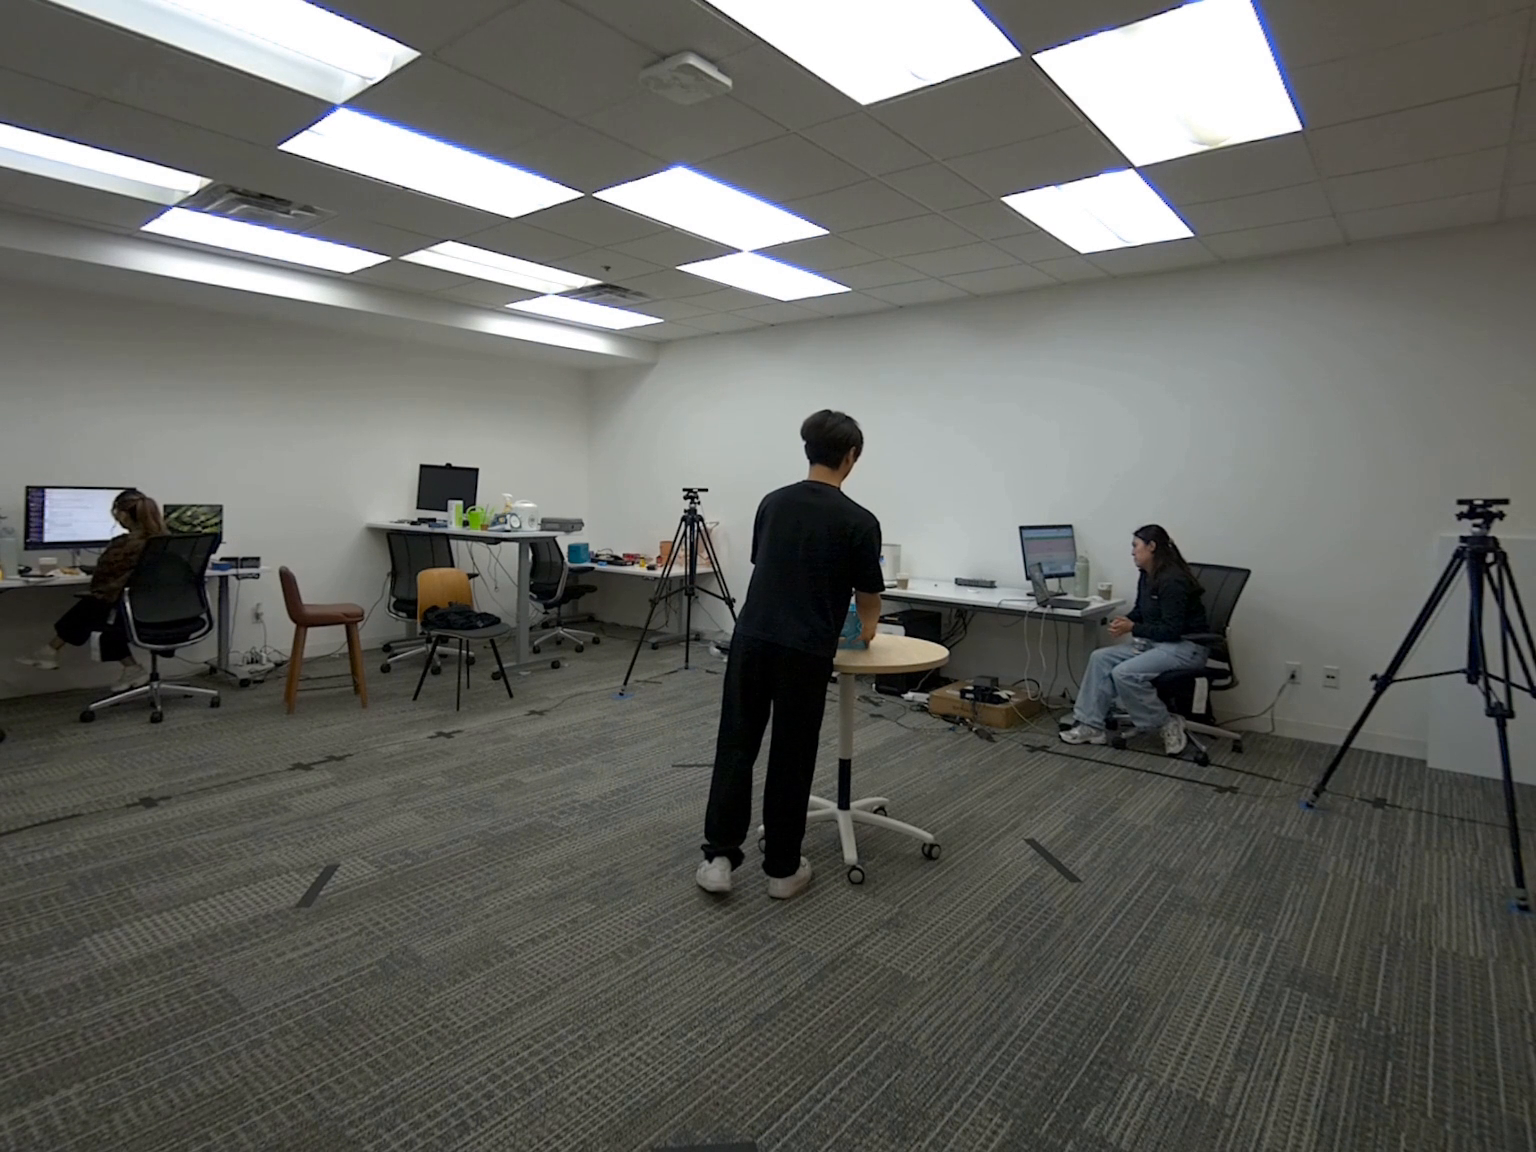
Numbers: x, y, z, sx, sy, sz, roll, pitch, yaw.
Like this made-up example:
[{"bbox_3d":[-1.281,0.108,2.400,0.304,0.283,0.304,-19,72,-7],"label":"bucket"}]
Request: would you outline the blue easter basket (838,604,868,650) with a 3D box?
[{"bbox_3d":[0.313,0.194,3.370,0.243,0.155,0.245,1,5,-2],"label":"blue easter basket"}]
